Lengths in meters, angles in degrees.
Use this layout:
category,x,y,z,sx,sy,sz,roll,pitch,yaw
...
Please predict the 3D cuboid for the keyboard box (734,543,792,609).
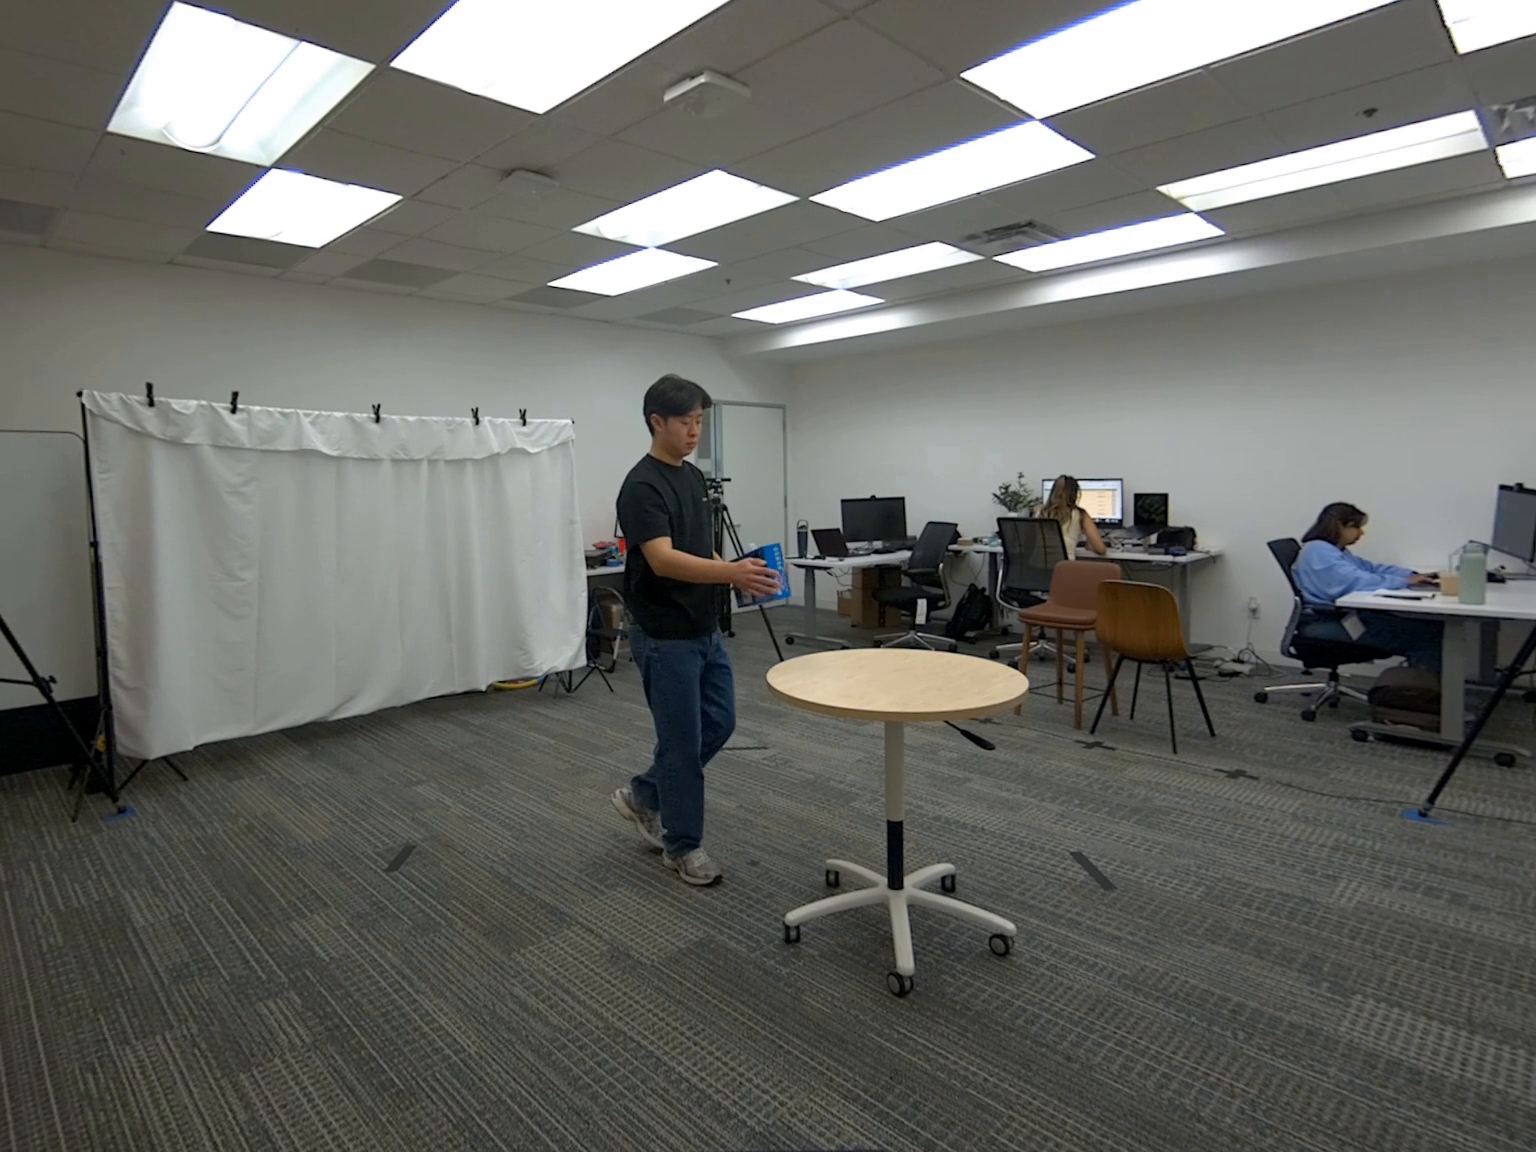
category,x,y,z,sx,sy,sz,roll,pitch,yaw
keyboard box,-0.037,0.008,2.855,0.058,0.177,0.440,-11,-3,-18
